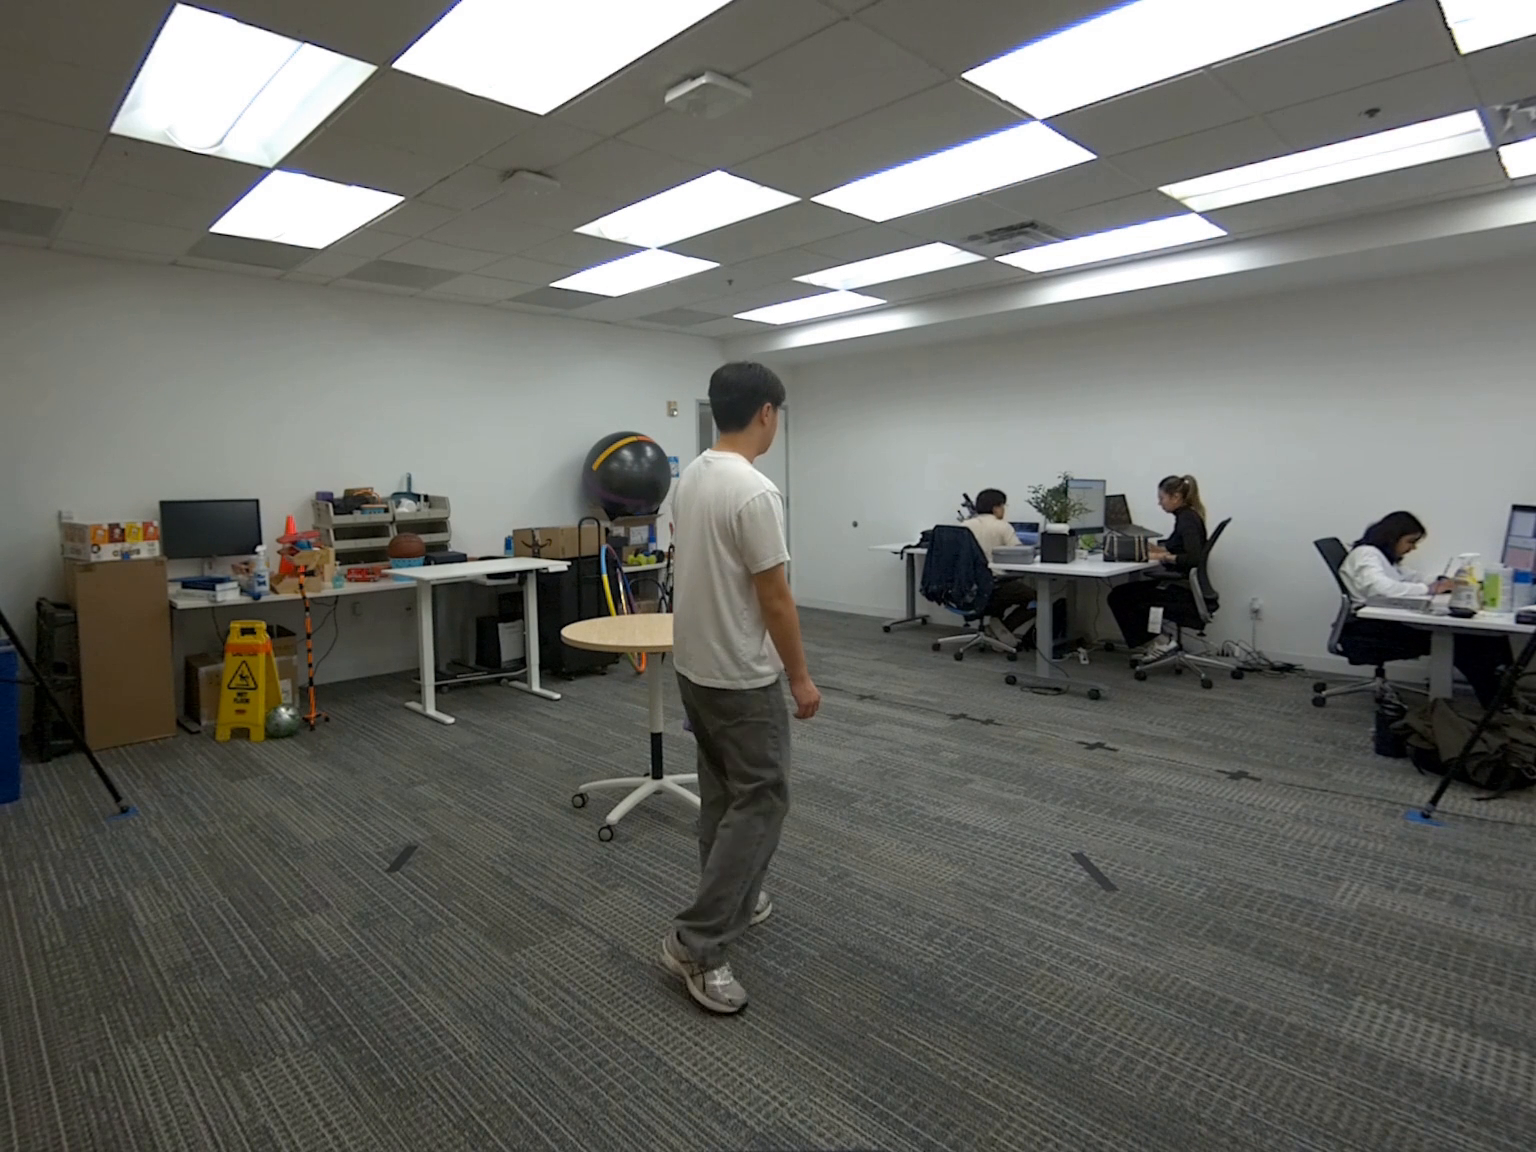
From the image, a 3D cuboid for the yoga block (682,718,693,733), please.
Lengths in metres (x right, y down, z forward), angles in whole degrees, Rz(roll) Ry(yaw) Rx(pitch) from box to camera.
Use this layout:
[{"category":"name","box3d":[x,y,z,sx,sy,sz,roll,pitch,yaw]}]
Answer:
[{"category":"yoga block","box3d":[-0.156,0.417,2.796,0.146,0.231,0.077,15,-13,-14]}]
